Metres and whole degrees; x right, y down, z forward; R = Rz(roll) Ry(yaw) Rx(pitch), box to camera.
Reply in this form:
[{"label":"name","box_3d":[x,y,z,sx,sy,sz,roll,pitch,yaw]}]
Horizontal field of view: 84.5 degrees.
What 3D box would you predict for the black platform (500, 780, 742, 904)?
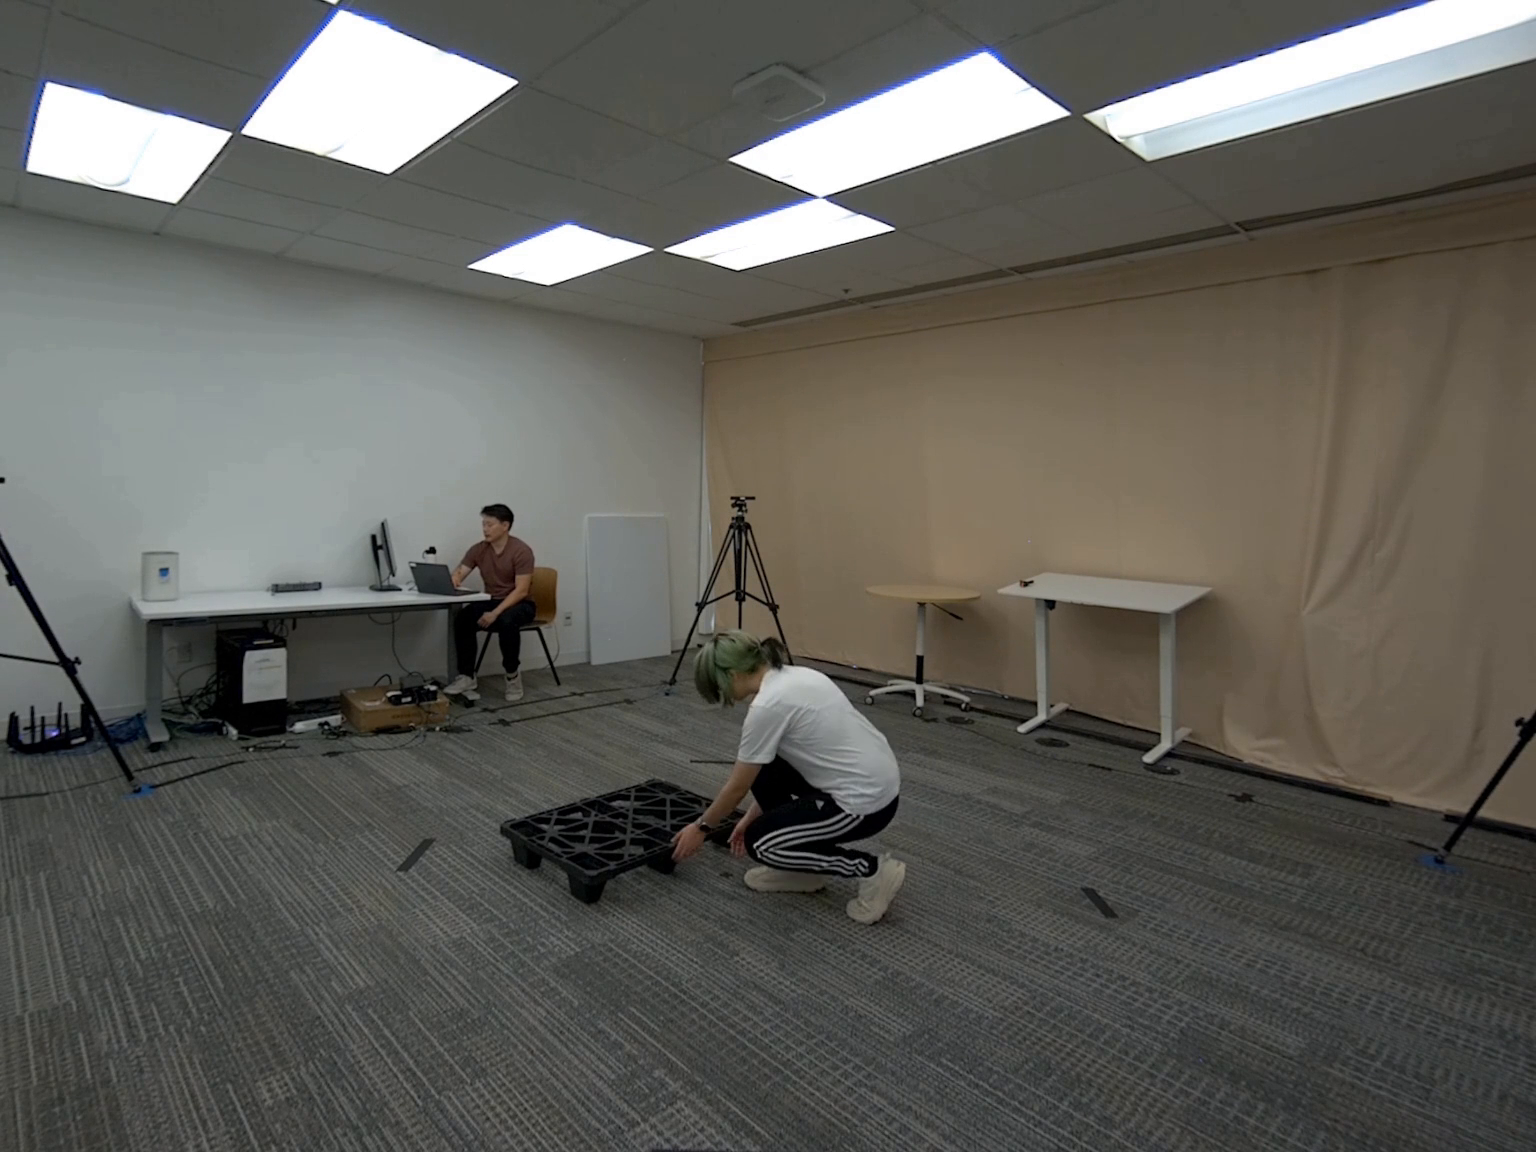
[{"label":"black platform","box_3d":[-0.541,1.014,3.279,0.621,0.143,0.787,7,8,43]}]
